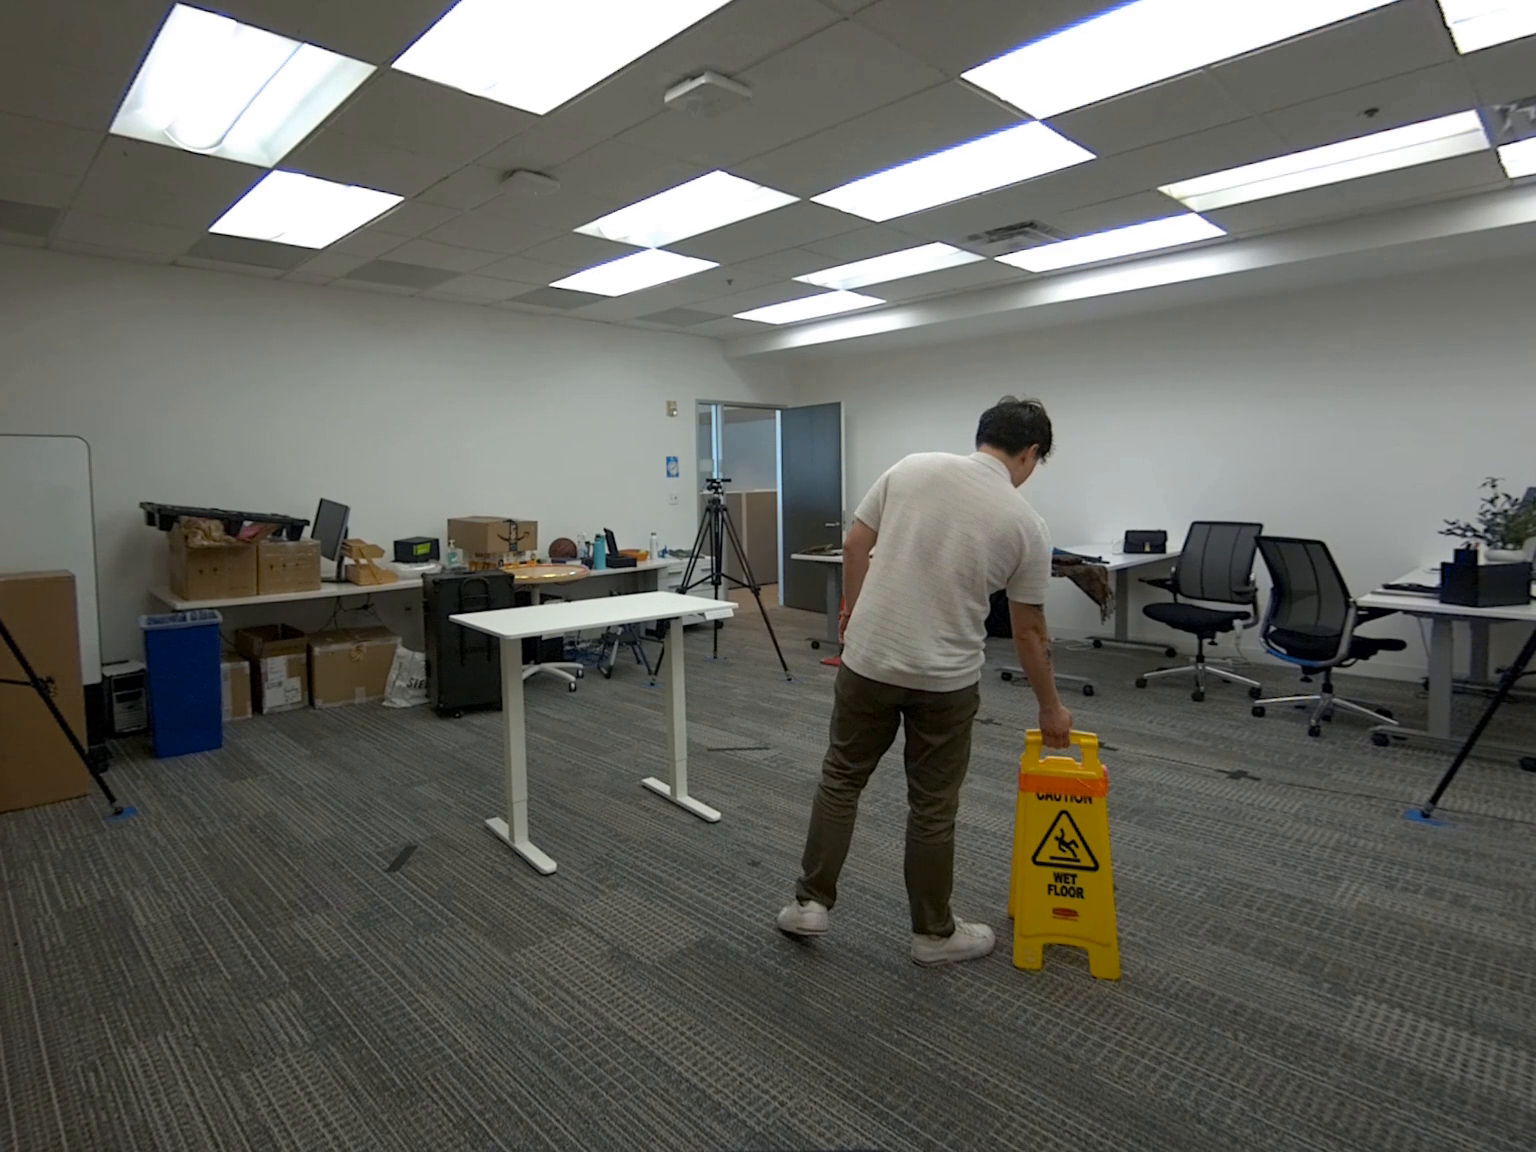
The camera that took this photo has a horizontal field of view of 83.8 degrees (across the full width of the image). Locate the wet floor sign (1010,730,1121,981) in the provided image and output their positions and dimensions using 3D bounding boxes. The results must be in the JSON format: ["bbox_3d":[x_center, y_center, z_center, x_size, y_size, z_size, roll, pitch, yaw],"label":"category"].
[{"bbox_3d":[0.866,0.770,2.499,0.286,0.644,0.287,-2,3,13],"label":"wet floor sign"}]
